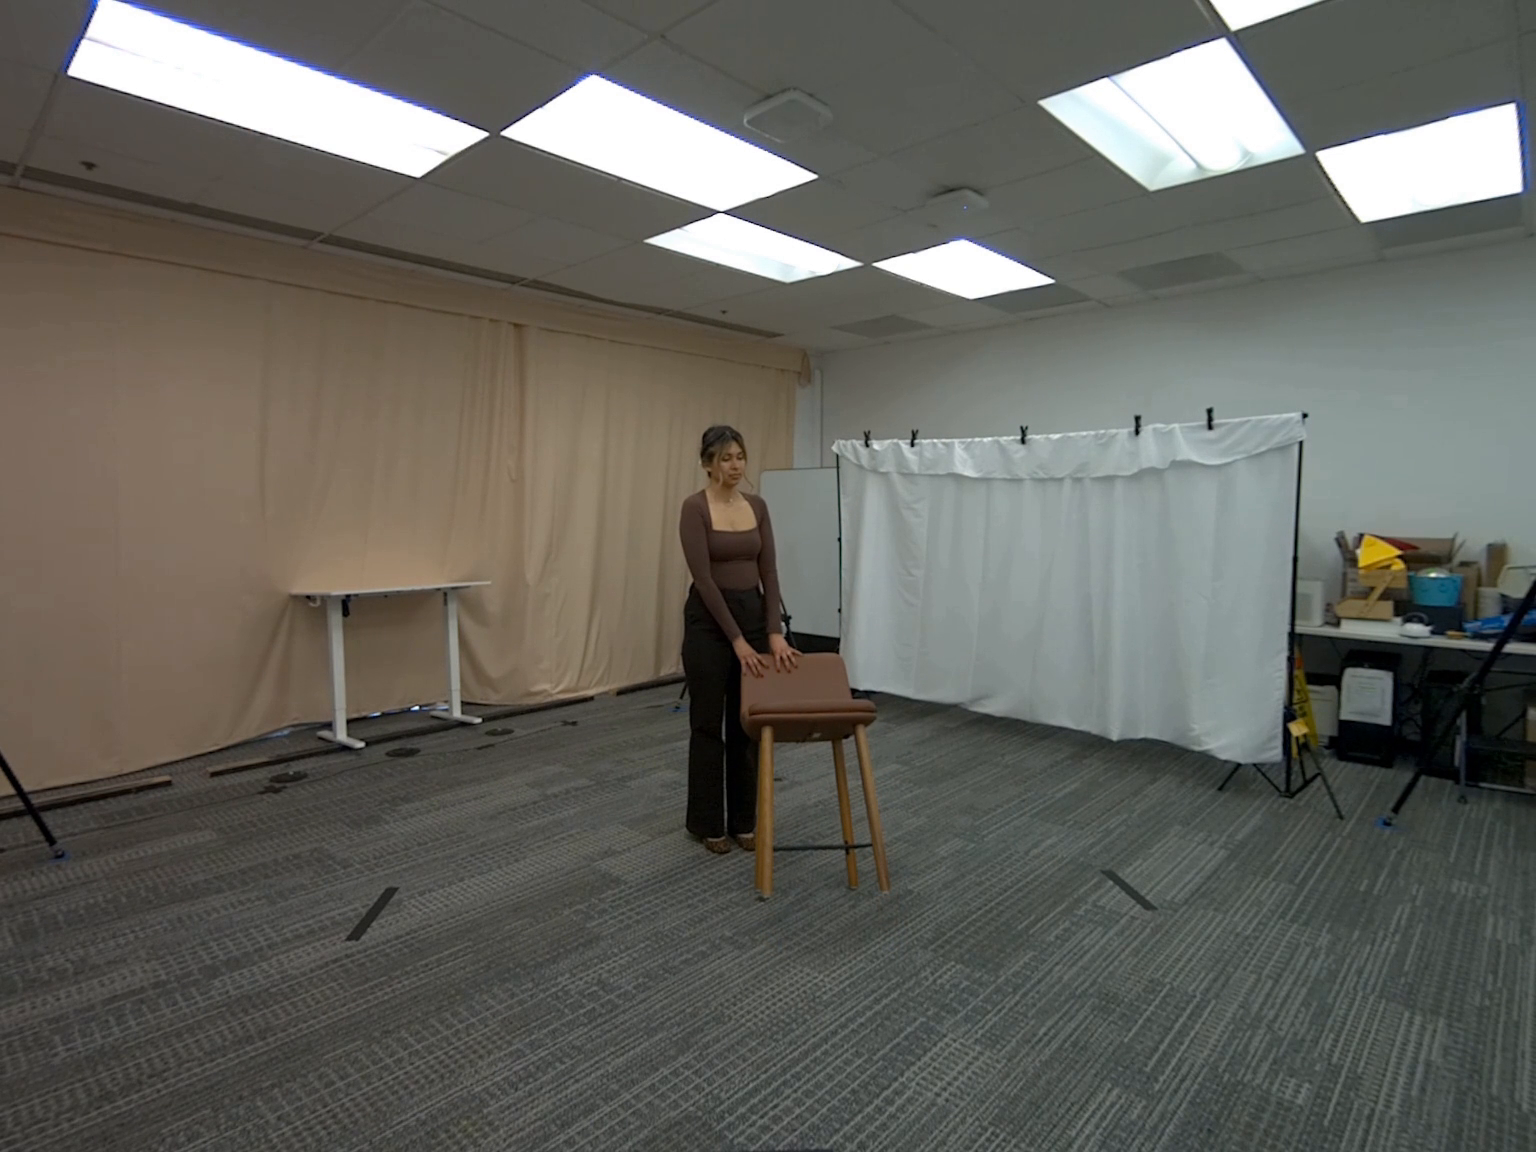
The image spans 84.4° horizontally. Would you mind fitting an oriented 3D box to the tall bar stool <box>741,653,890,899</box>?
[{"bbox_3d":[0.149,0.658,3.011,0.455,0.902,0.463,-1,-22,-4],"label":"tall bar stool"}]
